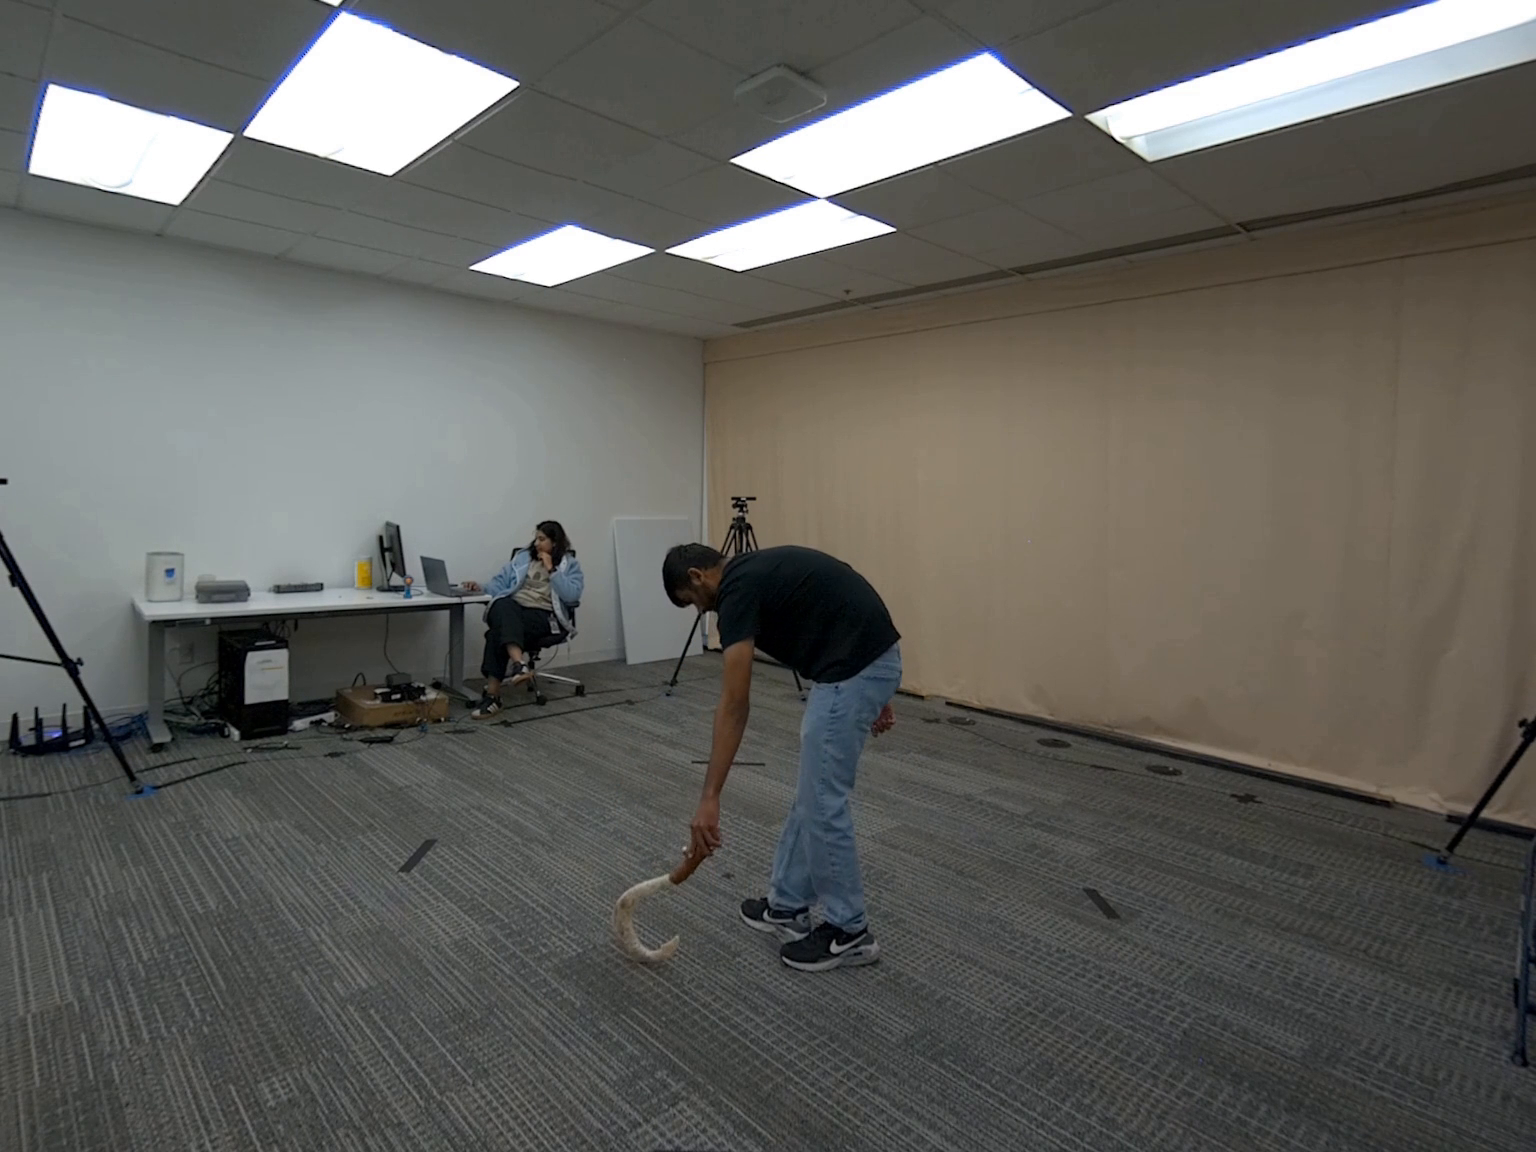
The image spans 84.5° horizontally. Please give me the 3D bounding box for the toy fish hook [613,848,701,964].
[{"bbox_3d":[-0.277,0.946,2.459,0.228,0.506,0.047,49,23,16],"label":"toy fish hook"}]
